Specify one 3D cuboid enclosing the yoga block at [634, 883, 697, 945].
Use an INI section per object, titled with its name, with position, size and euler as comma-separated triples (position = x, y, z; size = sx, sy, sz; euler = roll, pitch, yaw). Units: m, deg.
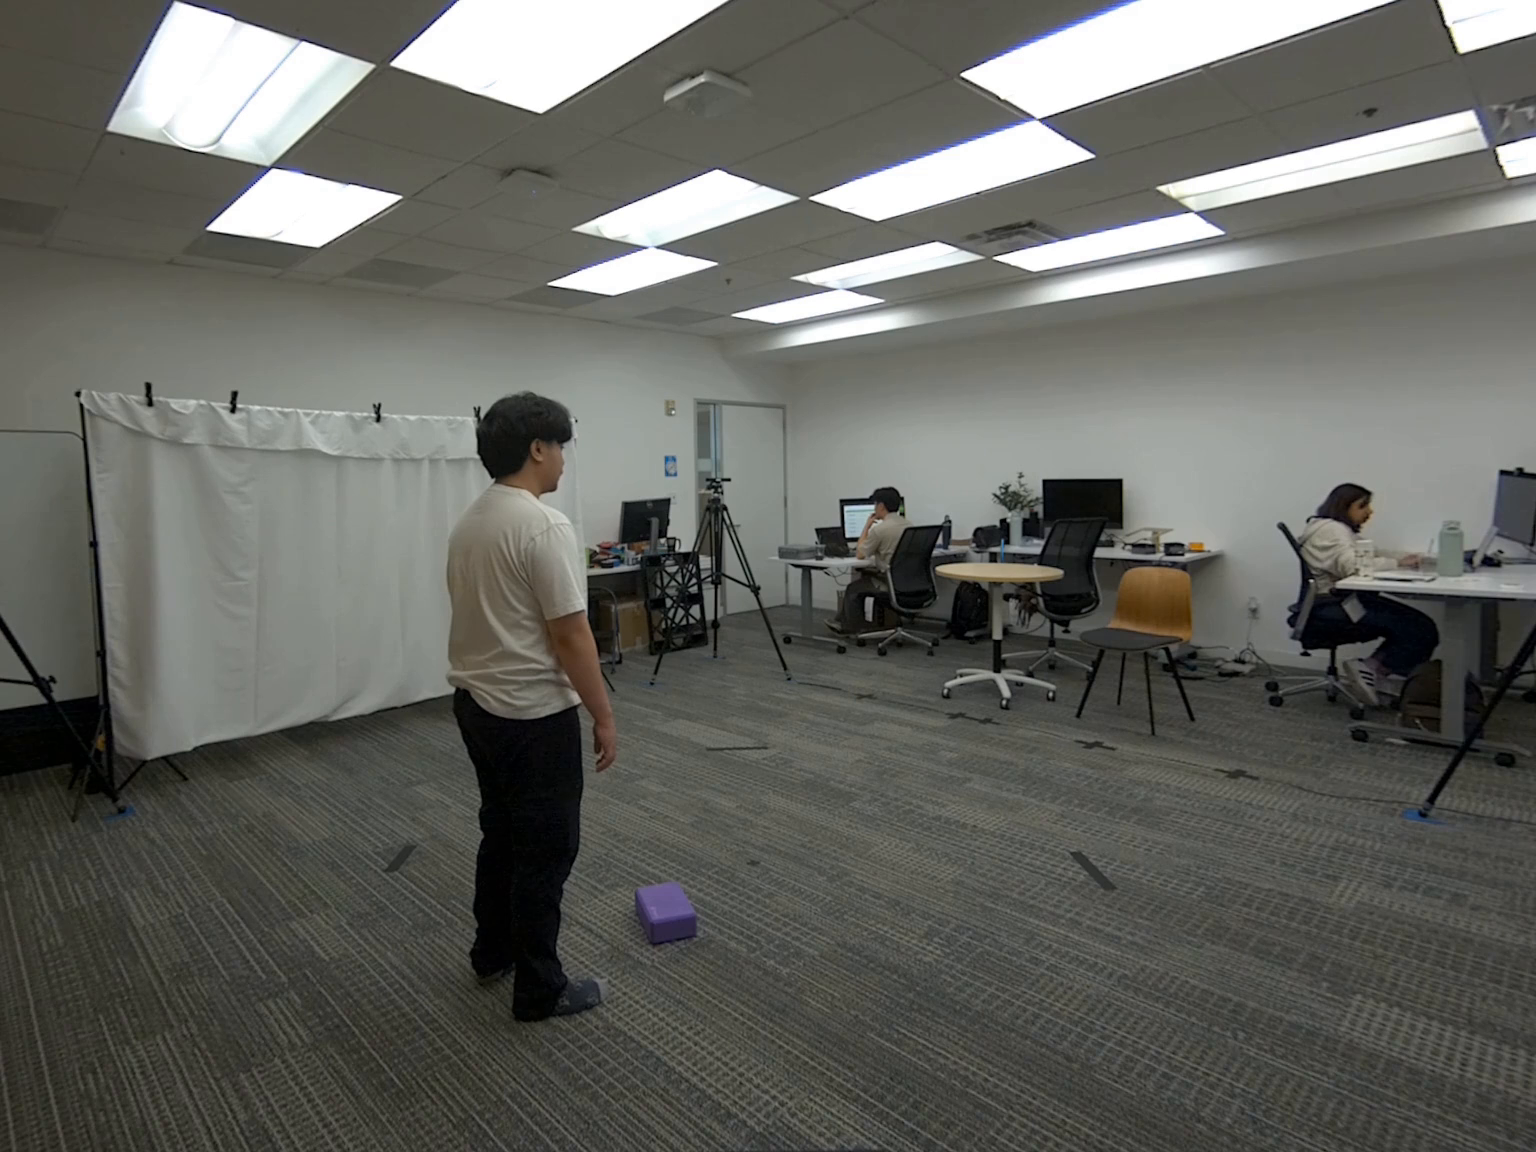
[yoga block]
position = -0.318, 1.055, 2.690
size = 0.146, 0.076, 0.234
euler = -2, 7, -19
